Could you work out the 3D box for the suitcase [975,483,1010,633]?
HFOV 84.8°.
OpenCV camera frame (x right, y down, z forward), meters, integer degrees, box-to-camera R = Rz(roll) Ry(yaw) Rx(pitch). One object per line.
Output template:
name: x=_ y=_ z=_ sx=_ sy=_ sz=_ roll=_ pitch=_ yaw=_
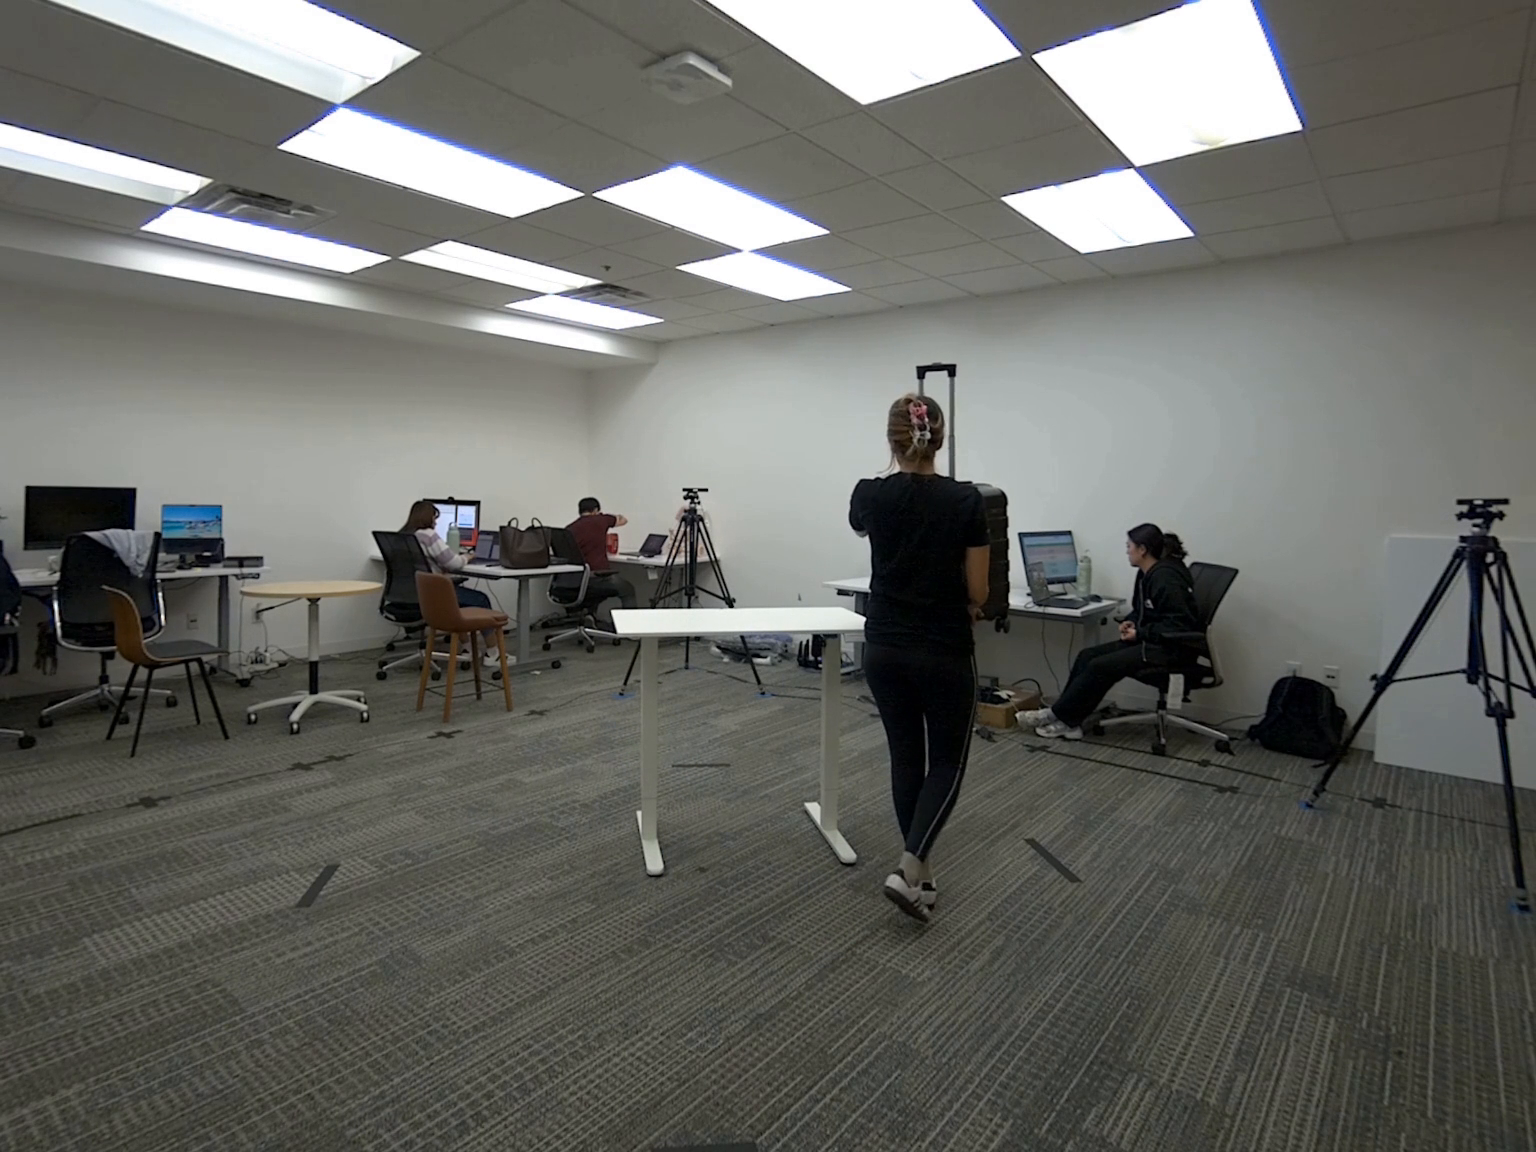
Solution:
suitcase: x=0.666 y=-0.274 z=3.094 sx=0.378 sy=0.968 sz=0.264 roll=-5 pitch=11 yaw=-17
